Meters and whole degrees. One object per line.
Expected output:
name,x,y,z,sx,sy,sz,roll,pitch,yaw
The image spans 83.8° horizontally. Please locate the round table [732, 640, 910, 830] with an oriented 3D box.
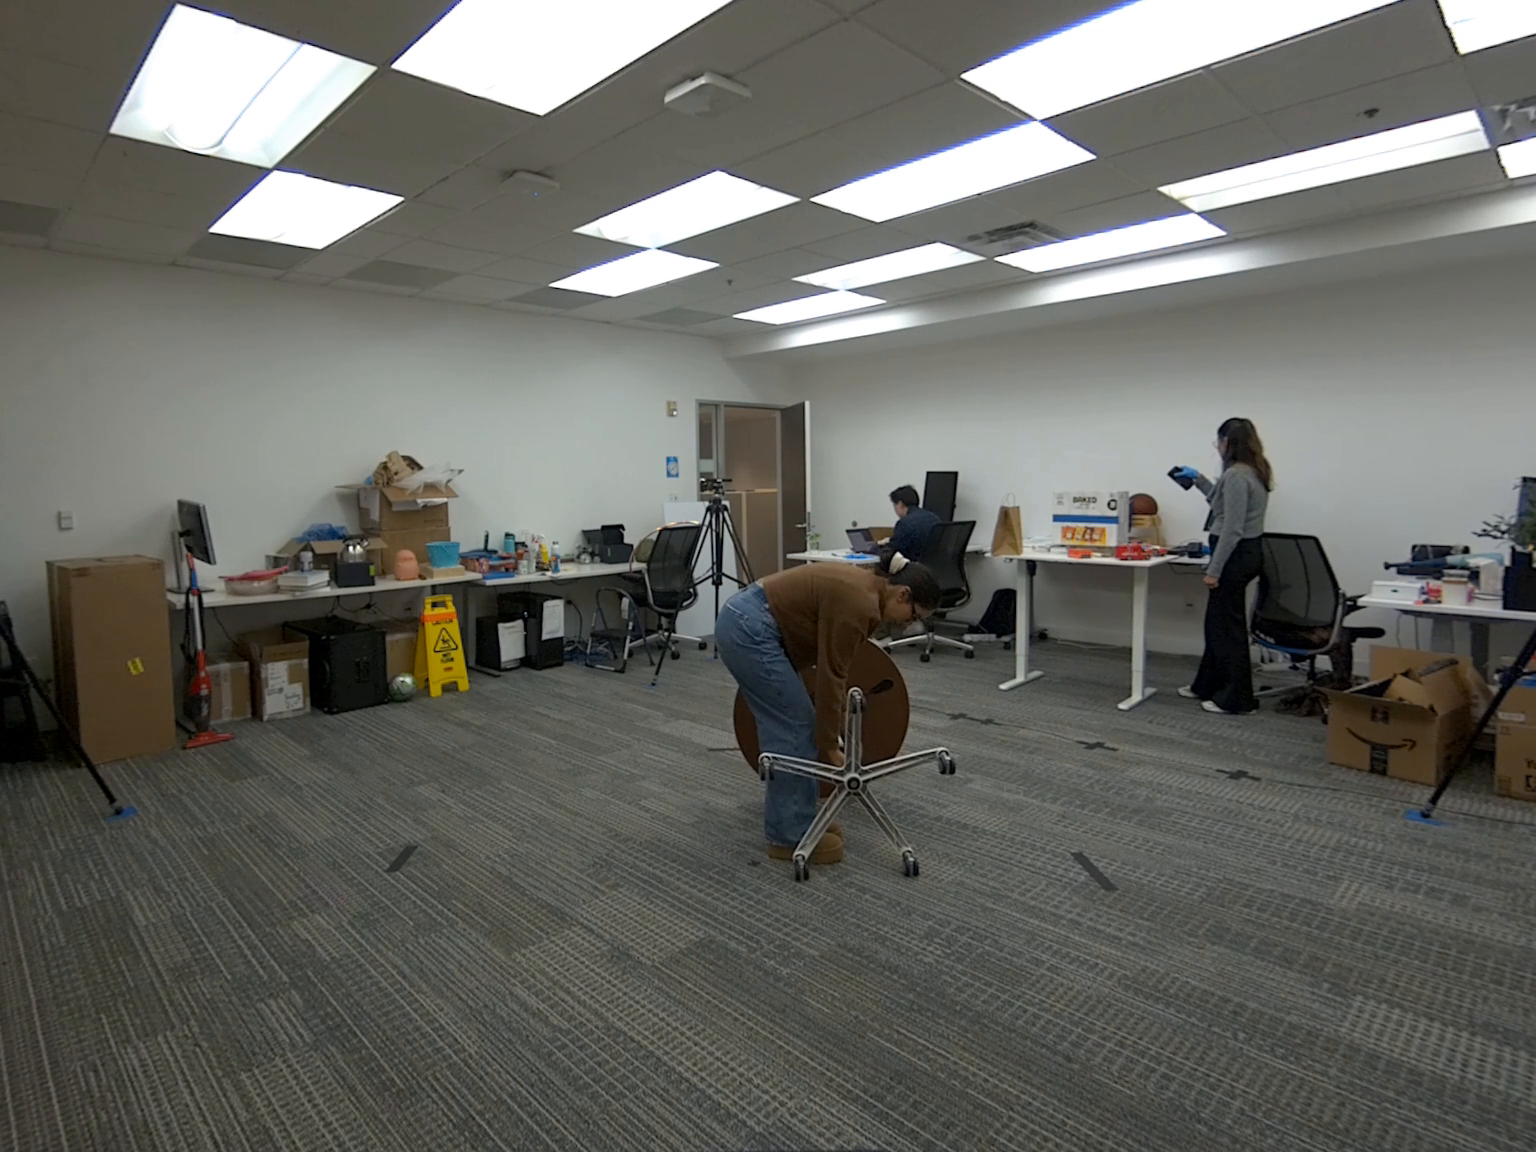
round table,0.282,0.677,3.308,0.761,0.757,0.804,-1,11,-4
